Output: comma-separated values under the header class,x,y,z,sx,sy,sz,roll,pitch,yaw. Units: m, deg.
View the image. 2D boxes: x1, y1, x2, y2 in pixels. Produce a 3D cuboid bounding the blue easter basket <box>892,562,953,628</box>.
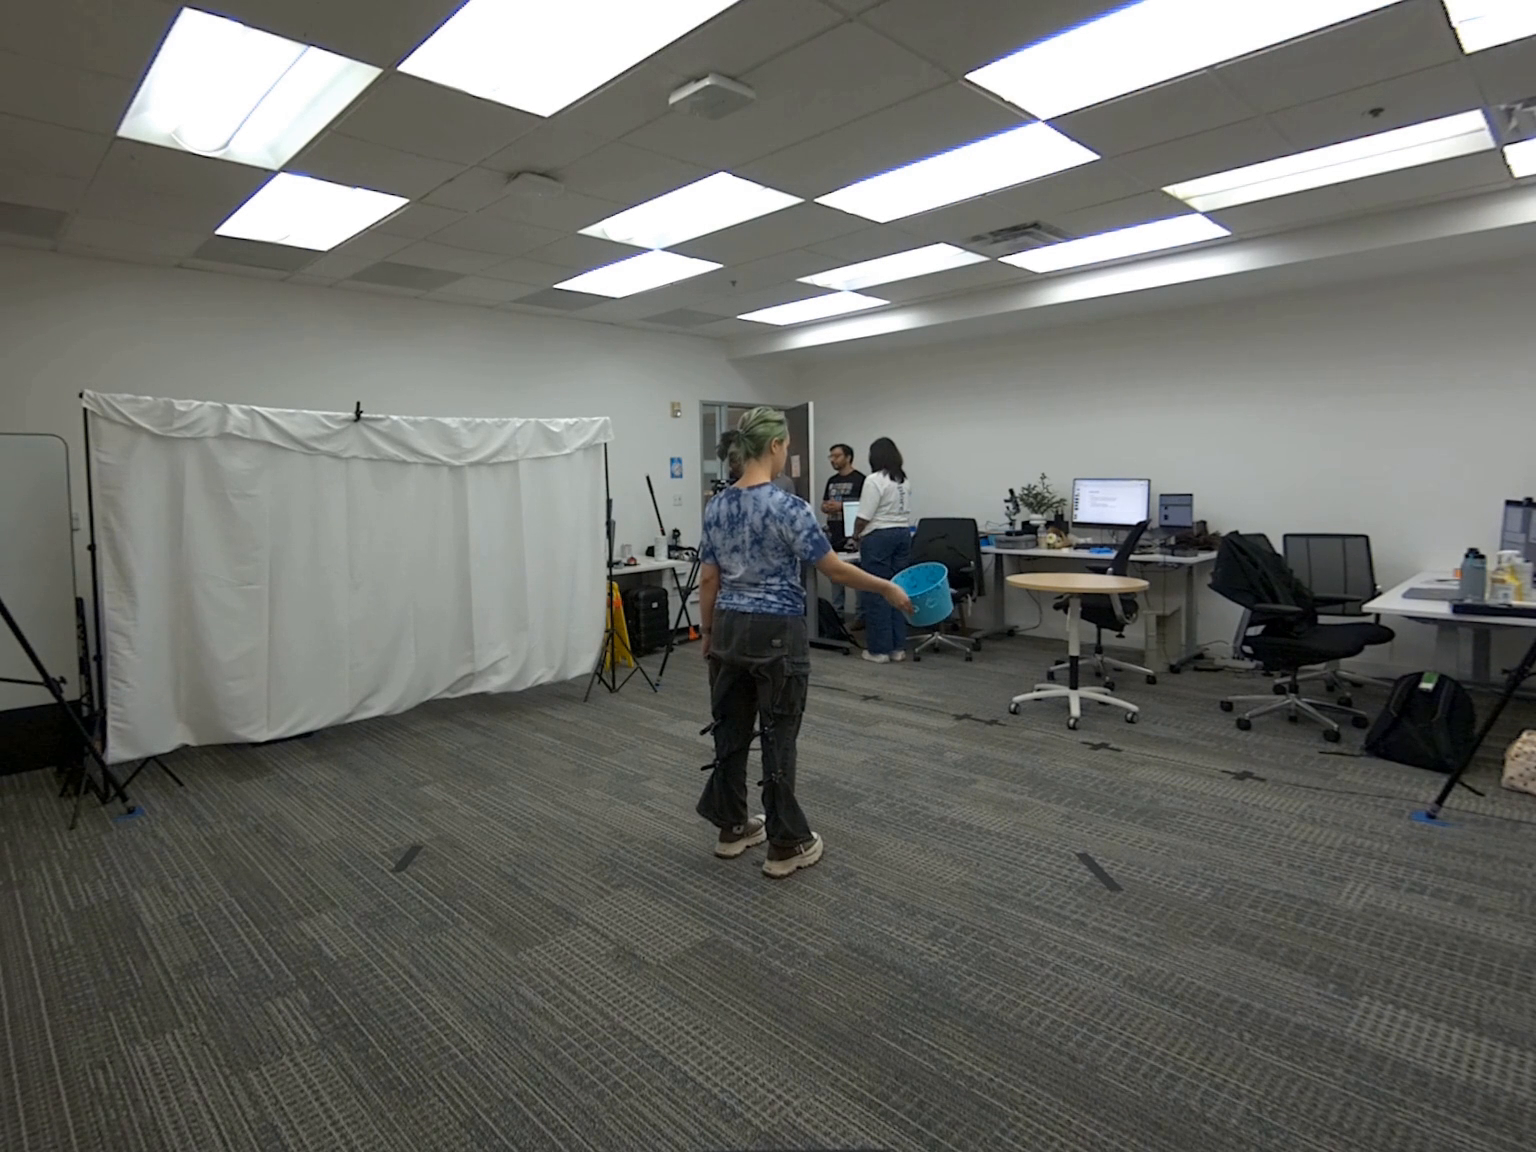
class,x,y,z,sx,sy,sz,roll,pitch,yaw
blue easter basket,0.591,0.076,3.243,0.245,0.152,0.248,-23,22,8
